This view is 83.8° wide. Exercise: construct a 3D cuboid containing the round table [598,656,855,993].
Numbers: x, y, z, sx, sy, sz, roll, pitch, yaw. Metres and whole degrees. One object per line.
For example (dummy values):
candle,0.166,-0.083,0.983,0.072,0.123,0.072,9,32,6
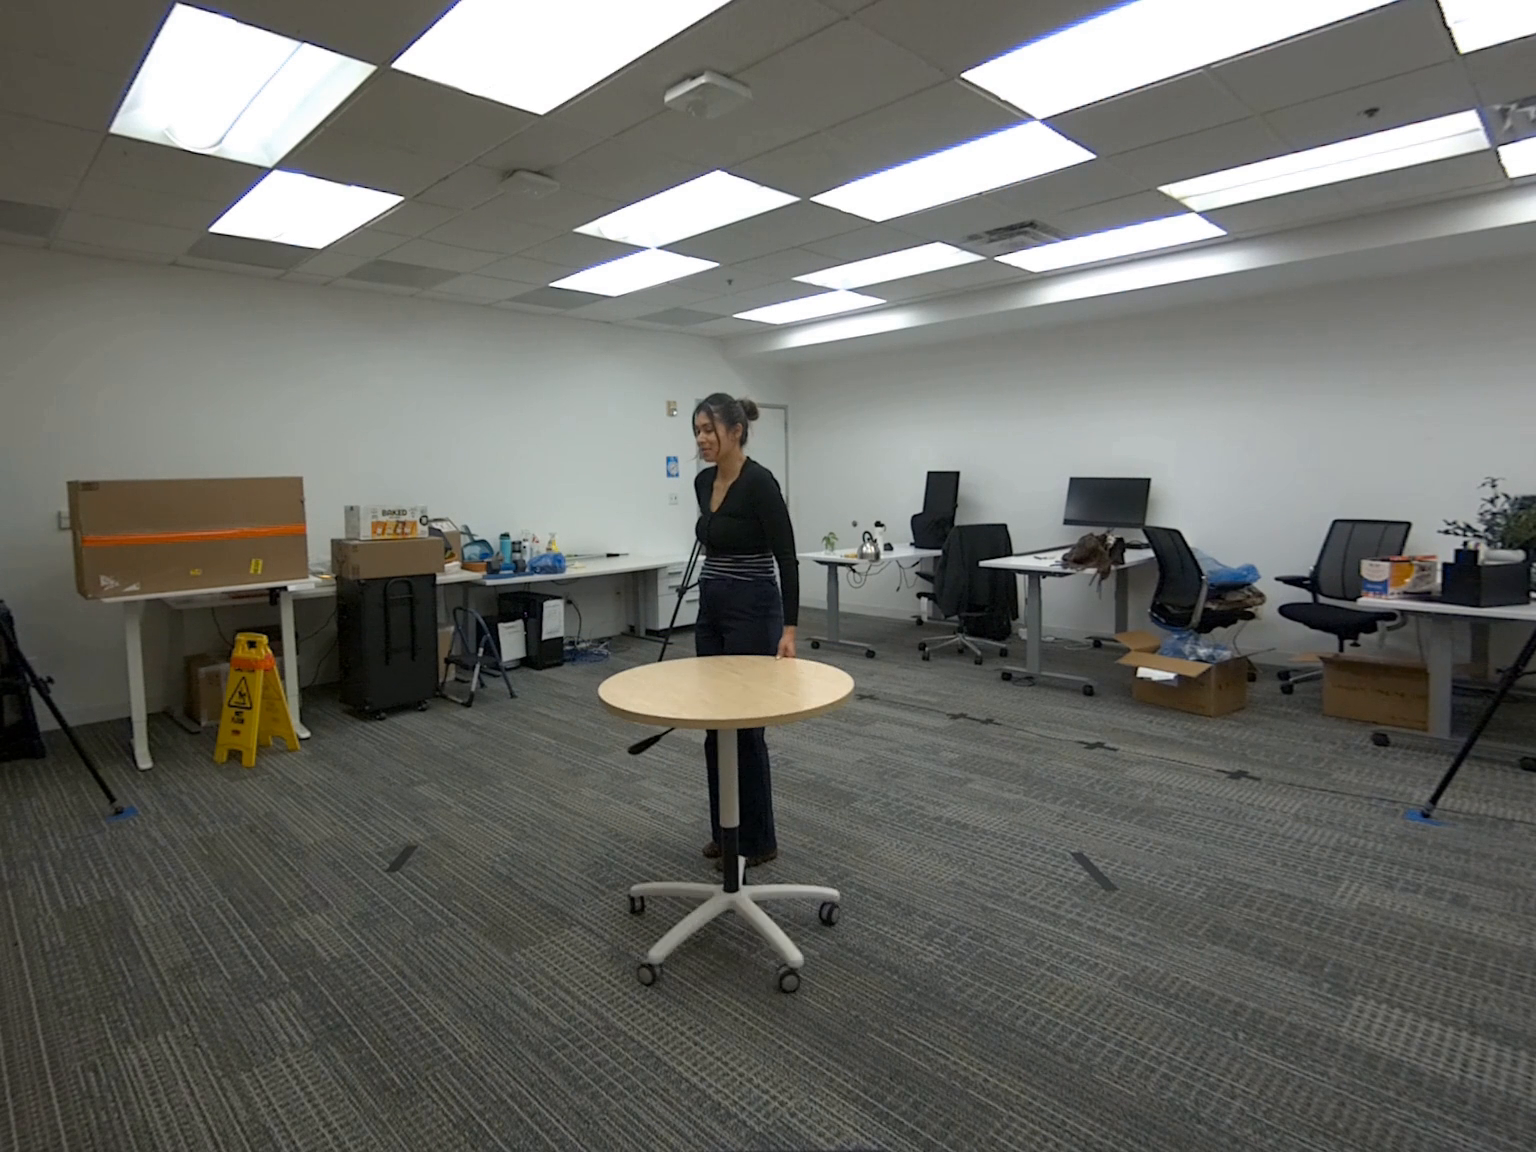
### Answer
round table,-0.116,0.716,2.605,0.763,0.790,0.768,-2,5,-2
